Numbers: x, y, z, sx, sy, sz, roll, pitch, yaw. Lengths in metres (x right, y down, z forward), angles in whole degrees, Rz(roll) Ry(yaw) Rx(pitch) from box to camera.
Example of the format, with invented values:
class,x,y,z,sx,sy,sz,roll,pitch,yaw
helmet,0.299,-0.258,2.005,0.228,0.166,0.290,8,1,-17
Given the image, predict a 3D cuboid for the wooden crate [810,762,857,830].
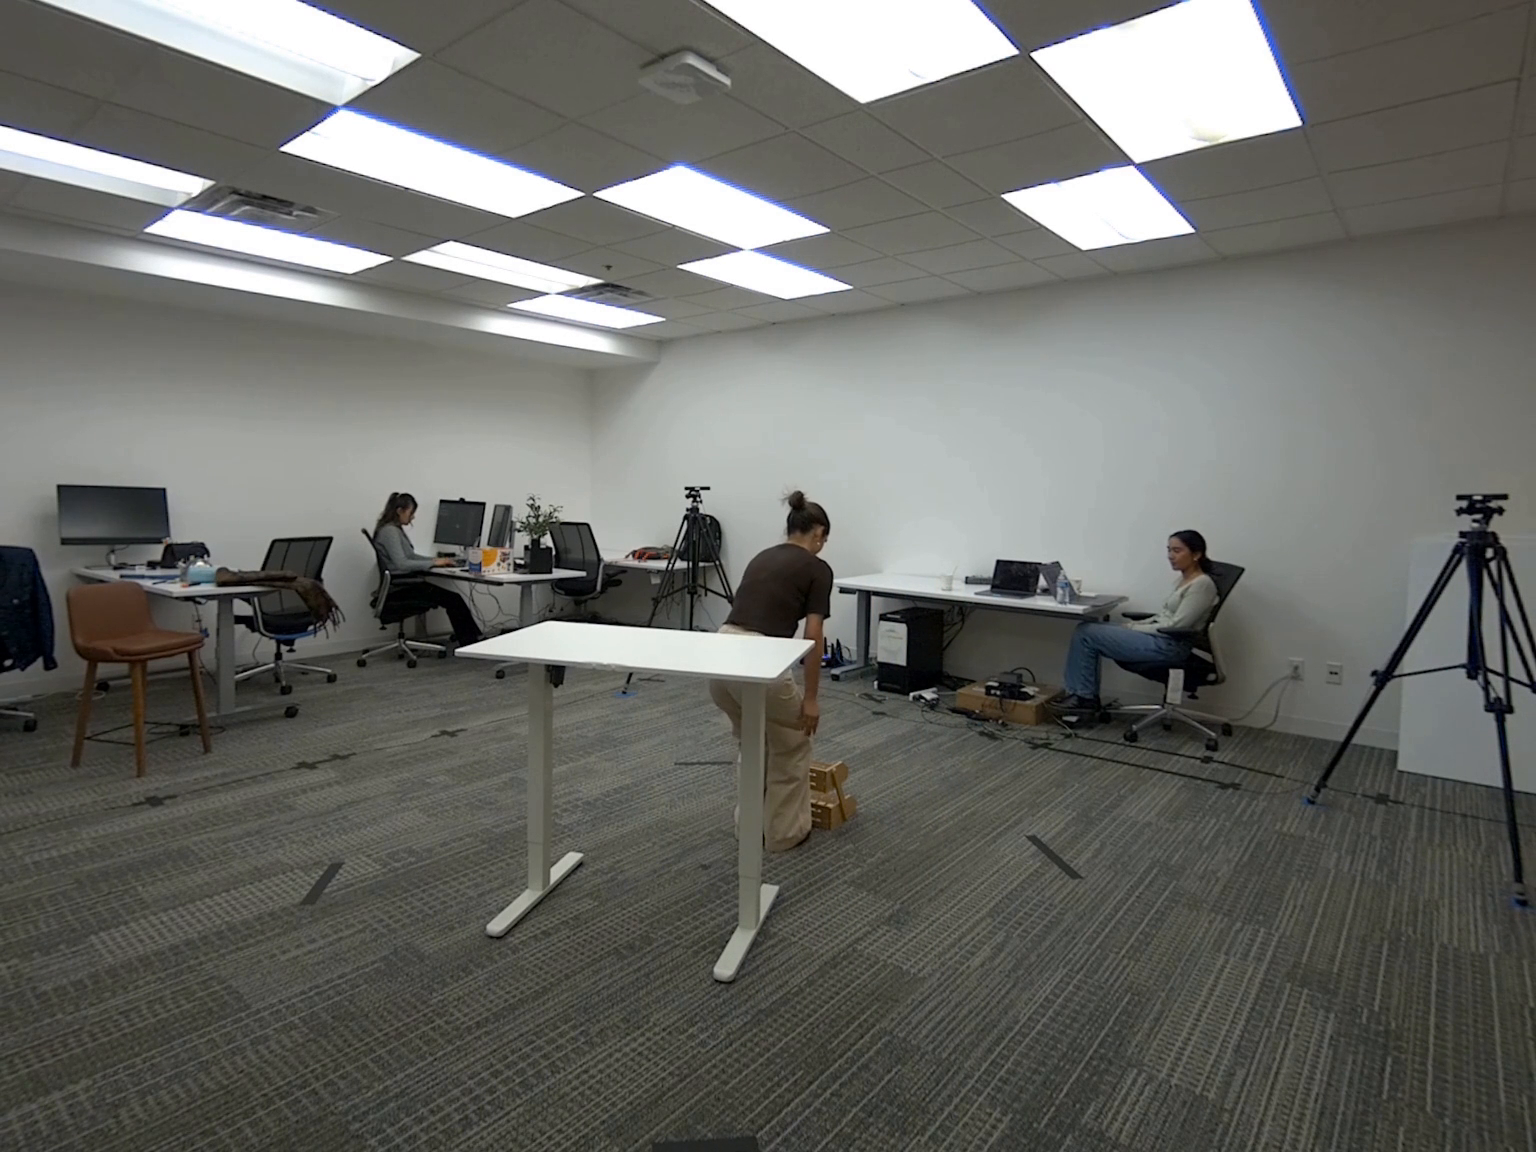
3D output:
class,x,y,z,sx,sy,sz,roll,pitch,yaw
wooden crate,0.177,0.887,3.638,0.335,0.272,0.294,4,6,33
